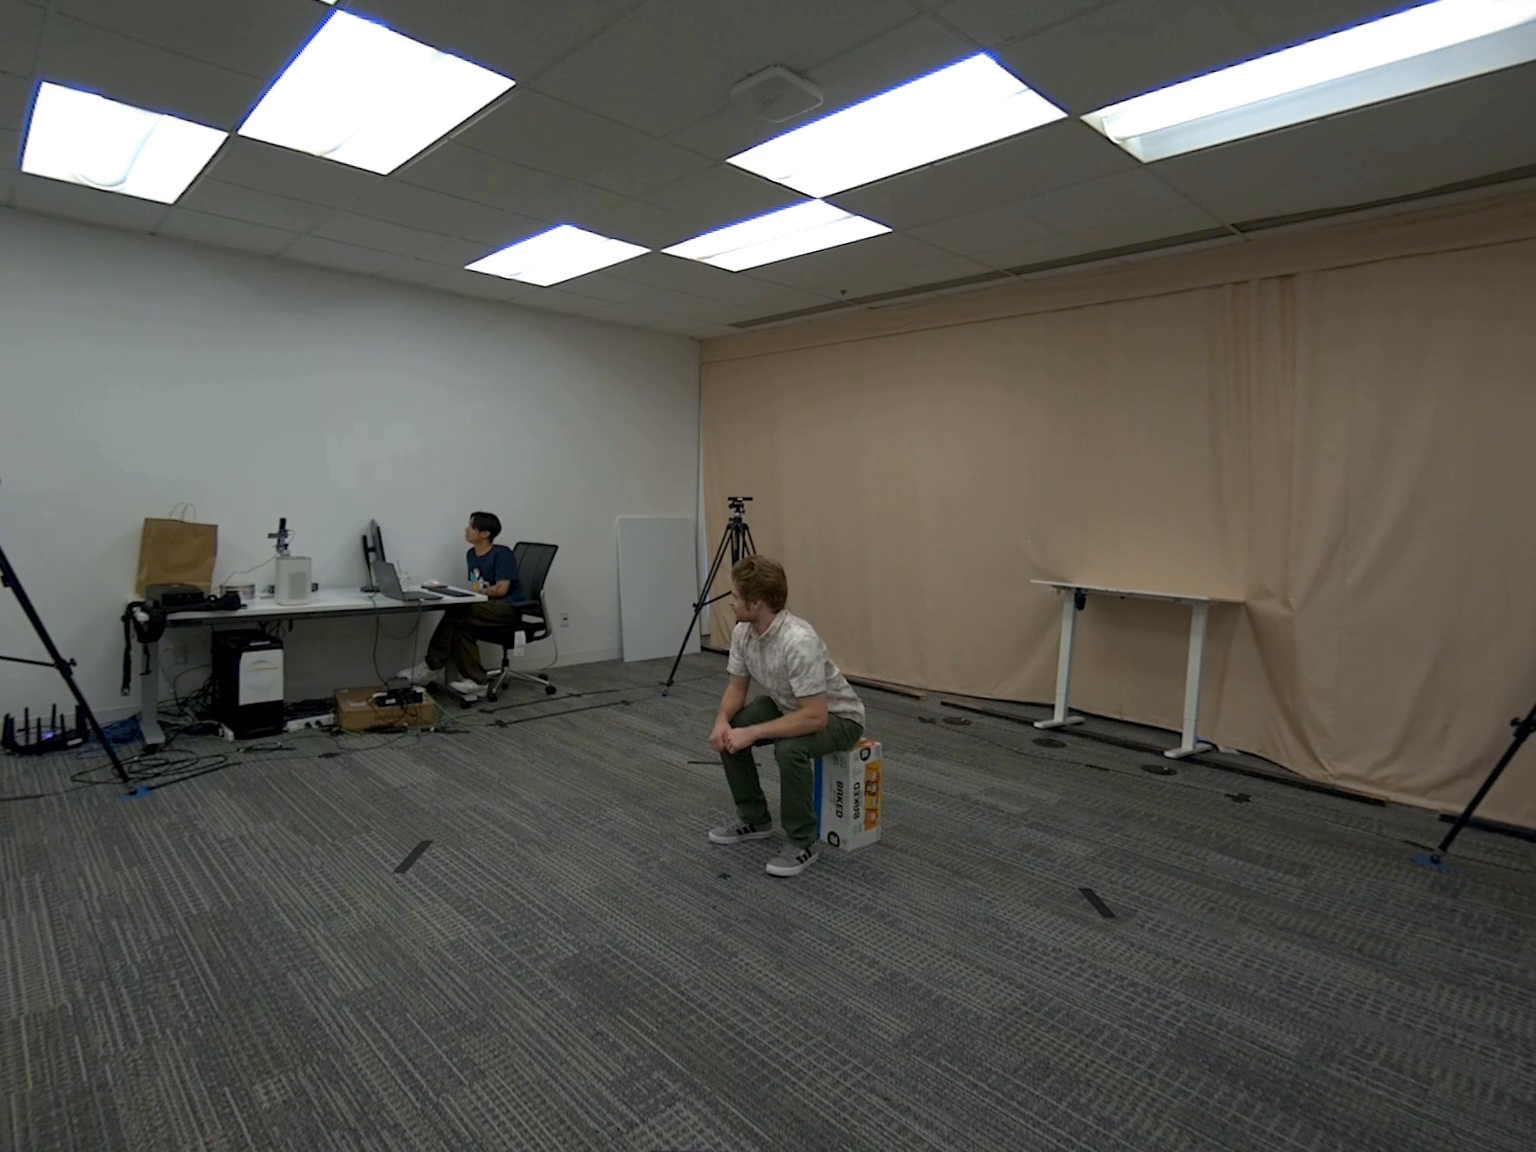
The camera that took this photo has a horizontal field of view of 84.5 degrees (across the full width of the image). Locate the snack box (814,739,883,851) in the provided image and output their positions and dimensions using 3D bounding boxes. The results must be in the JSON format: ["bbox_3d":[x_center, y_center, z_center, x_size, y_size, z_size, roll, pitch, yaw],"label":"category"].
[{"bbox_3d":[0.275,0.881,3.535,0.201,0.404,0.349,-3,5,-41],"label":"snack box"}]
